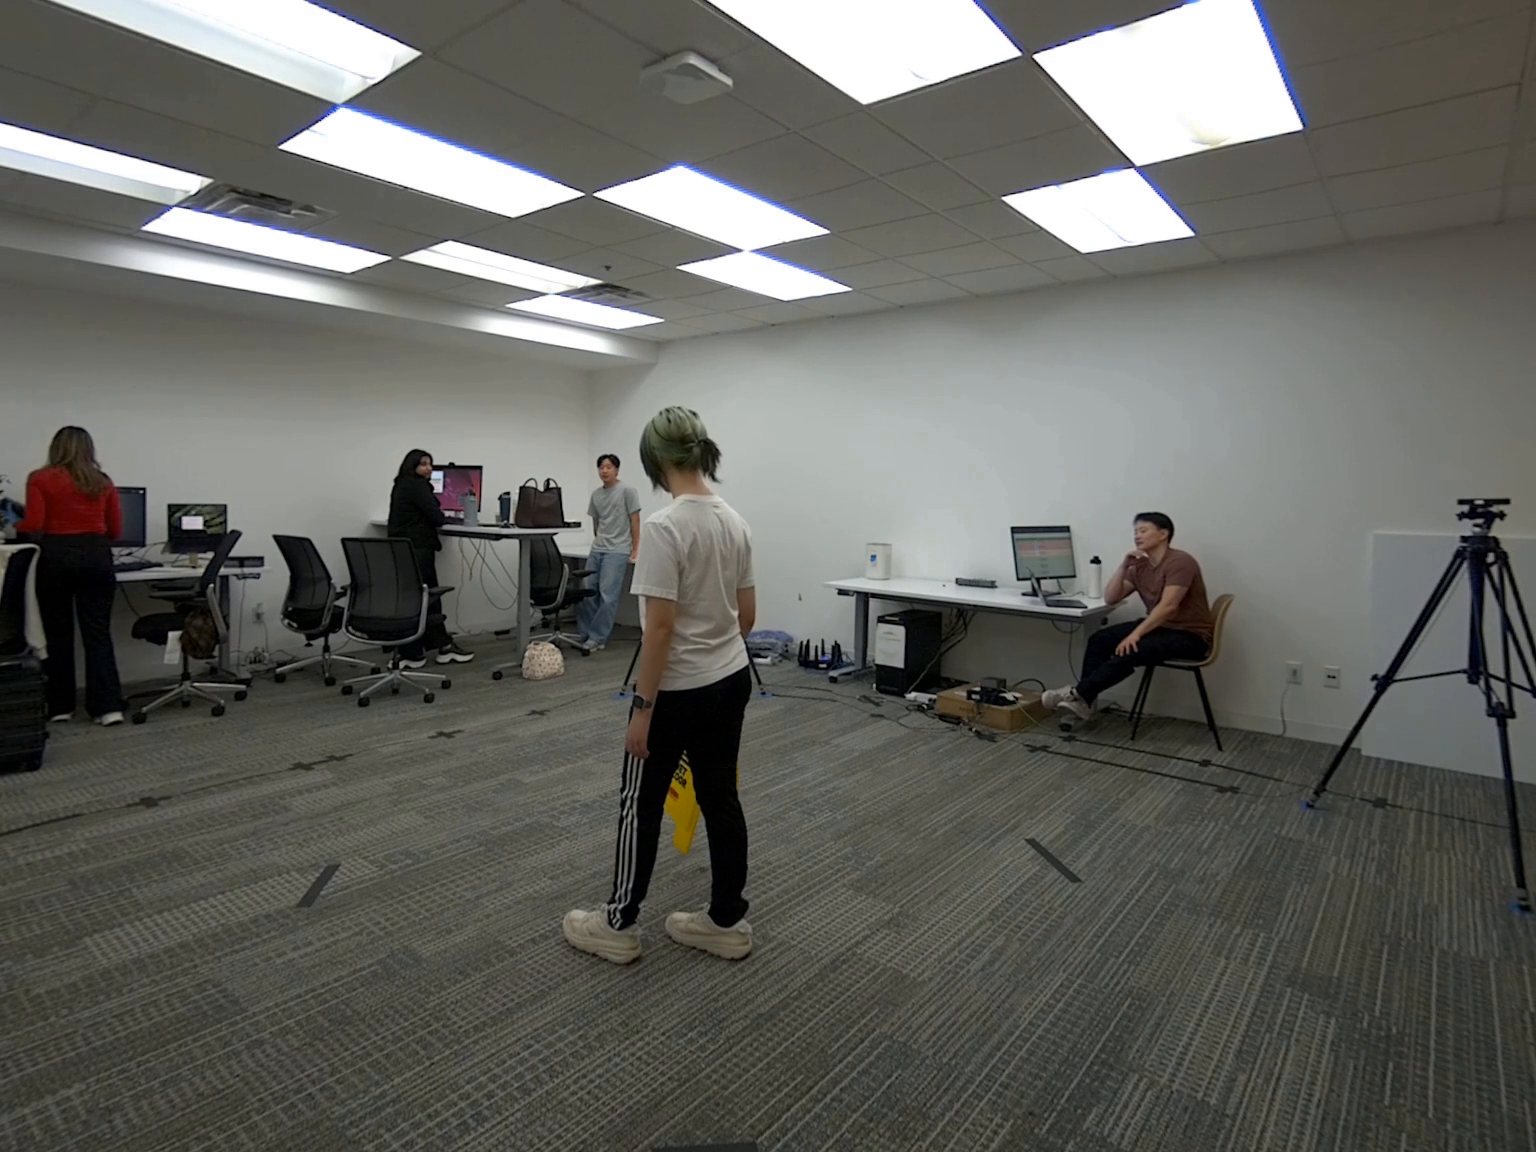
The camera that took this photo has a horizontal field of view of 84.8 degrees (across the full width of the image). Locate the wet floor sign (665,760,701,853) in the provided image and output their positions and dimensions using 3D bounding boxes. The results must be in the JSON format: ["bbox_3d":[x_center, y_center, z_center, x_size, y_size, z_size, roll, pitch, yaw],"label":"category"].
[{"bbox_3d":[-0.240,0.575,2.937,0.282,0.637,0.294,-7,27,-44],"label":"wet floor sign"}]
